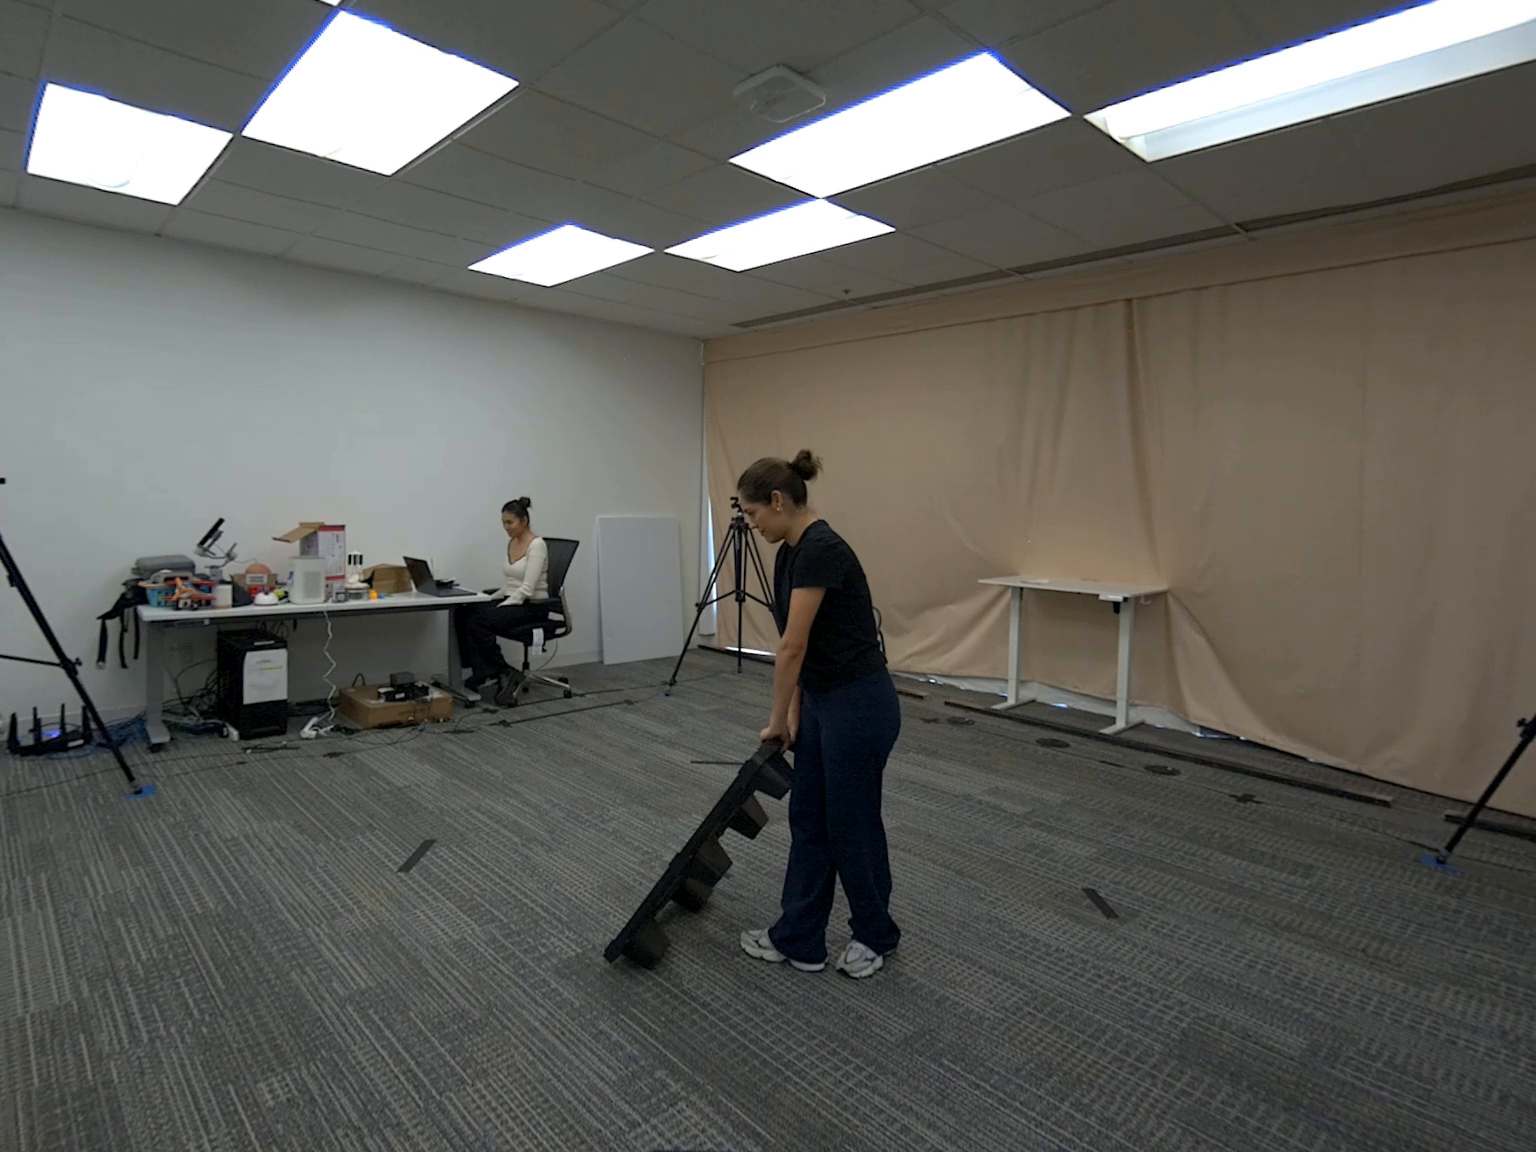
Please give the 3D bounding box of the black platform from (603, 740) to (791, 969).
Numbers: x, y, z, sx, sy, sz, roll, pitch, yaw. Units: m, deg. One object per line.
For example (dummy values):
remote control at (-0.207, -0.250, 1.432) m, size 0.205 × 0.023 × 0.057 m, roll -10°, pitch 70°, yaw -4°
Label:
black platform at (-0.124, 0.818, 2.612) m, size 0.145 × 0.804 × 0.598 m, roll 37°, pitch 13°, yaw 11°
